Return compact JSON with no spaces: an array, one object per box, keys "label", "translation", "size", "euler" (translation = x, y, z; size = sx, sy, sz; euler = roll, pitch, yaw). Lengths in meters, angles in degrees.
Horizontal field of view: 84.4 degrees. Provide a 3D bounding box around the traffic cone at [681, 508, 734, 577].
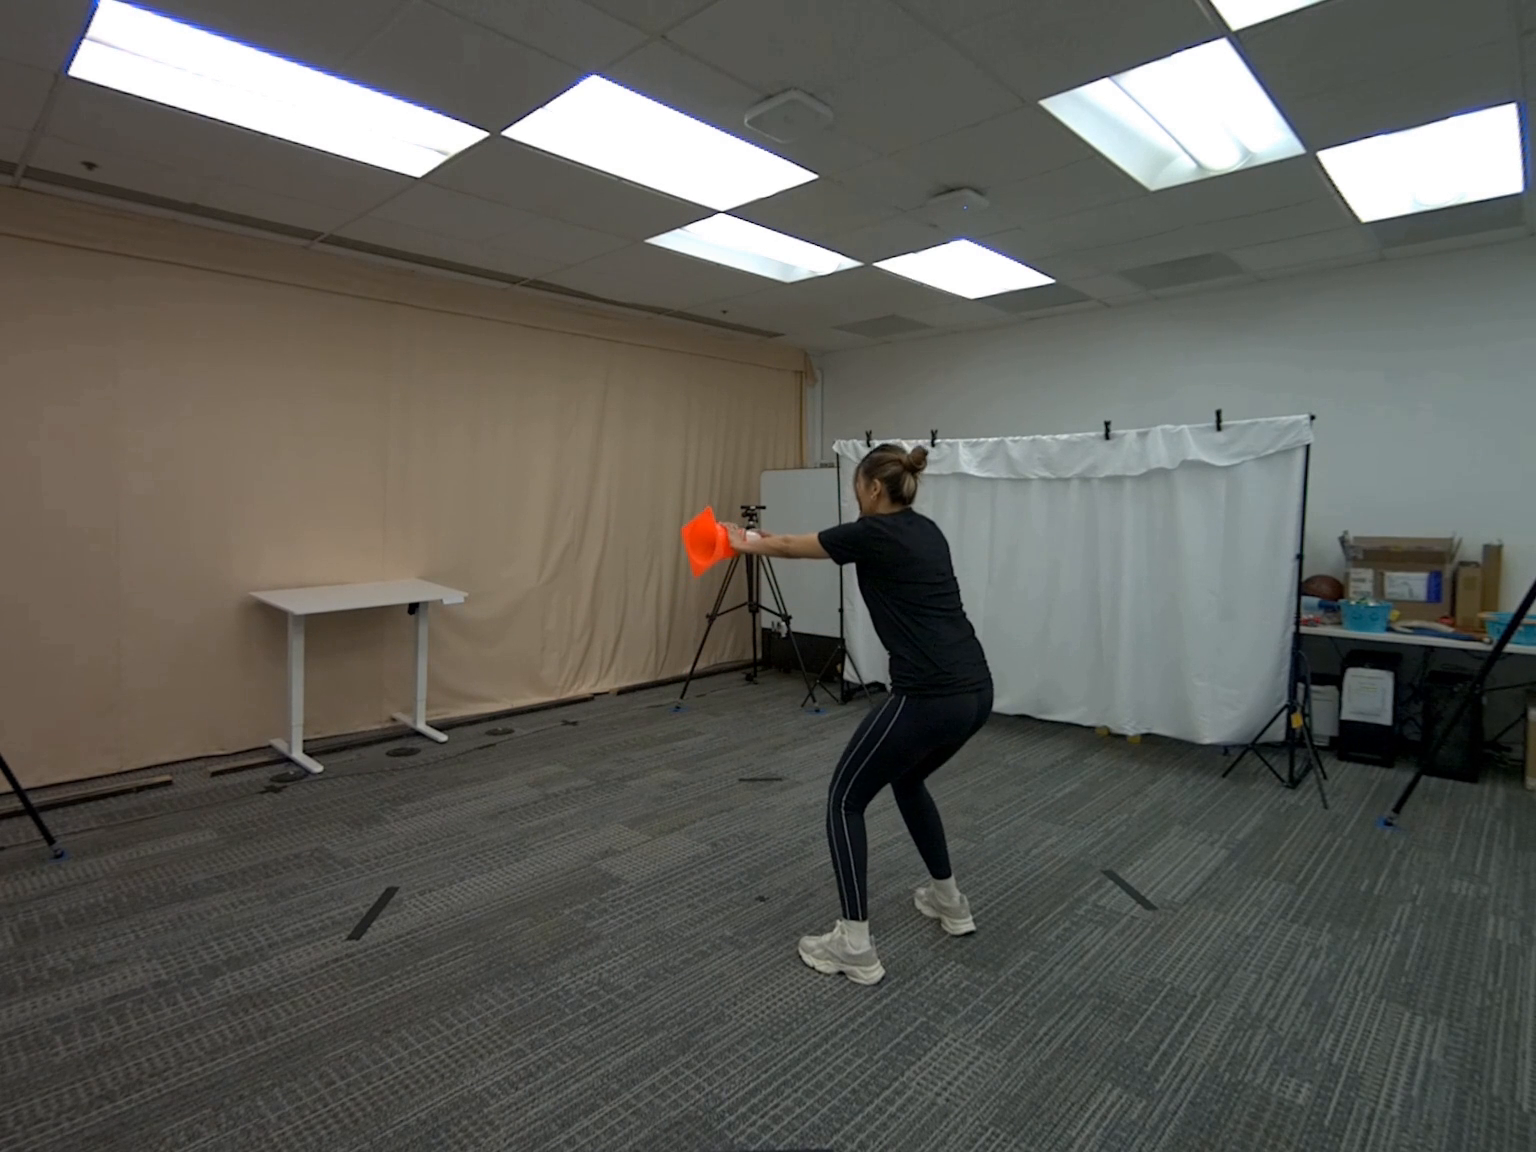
[{"label":"traffic cone","translation":[-0.090,-0.111,3.145],"size":[0.372,0.208,0.206],"euler":[0,-25,-38]}]
